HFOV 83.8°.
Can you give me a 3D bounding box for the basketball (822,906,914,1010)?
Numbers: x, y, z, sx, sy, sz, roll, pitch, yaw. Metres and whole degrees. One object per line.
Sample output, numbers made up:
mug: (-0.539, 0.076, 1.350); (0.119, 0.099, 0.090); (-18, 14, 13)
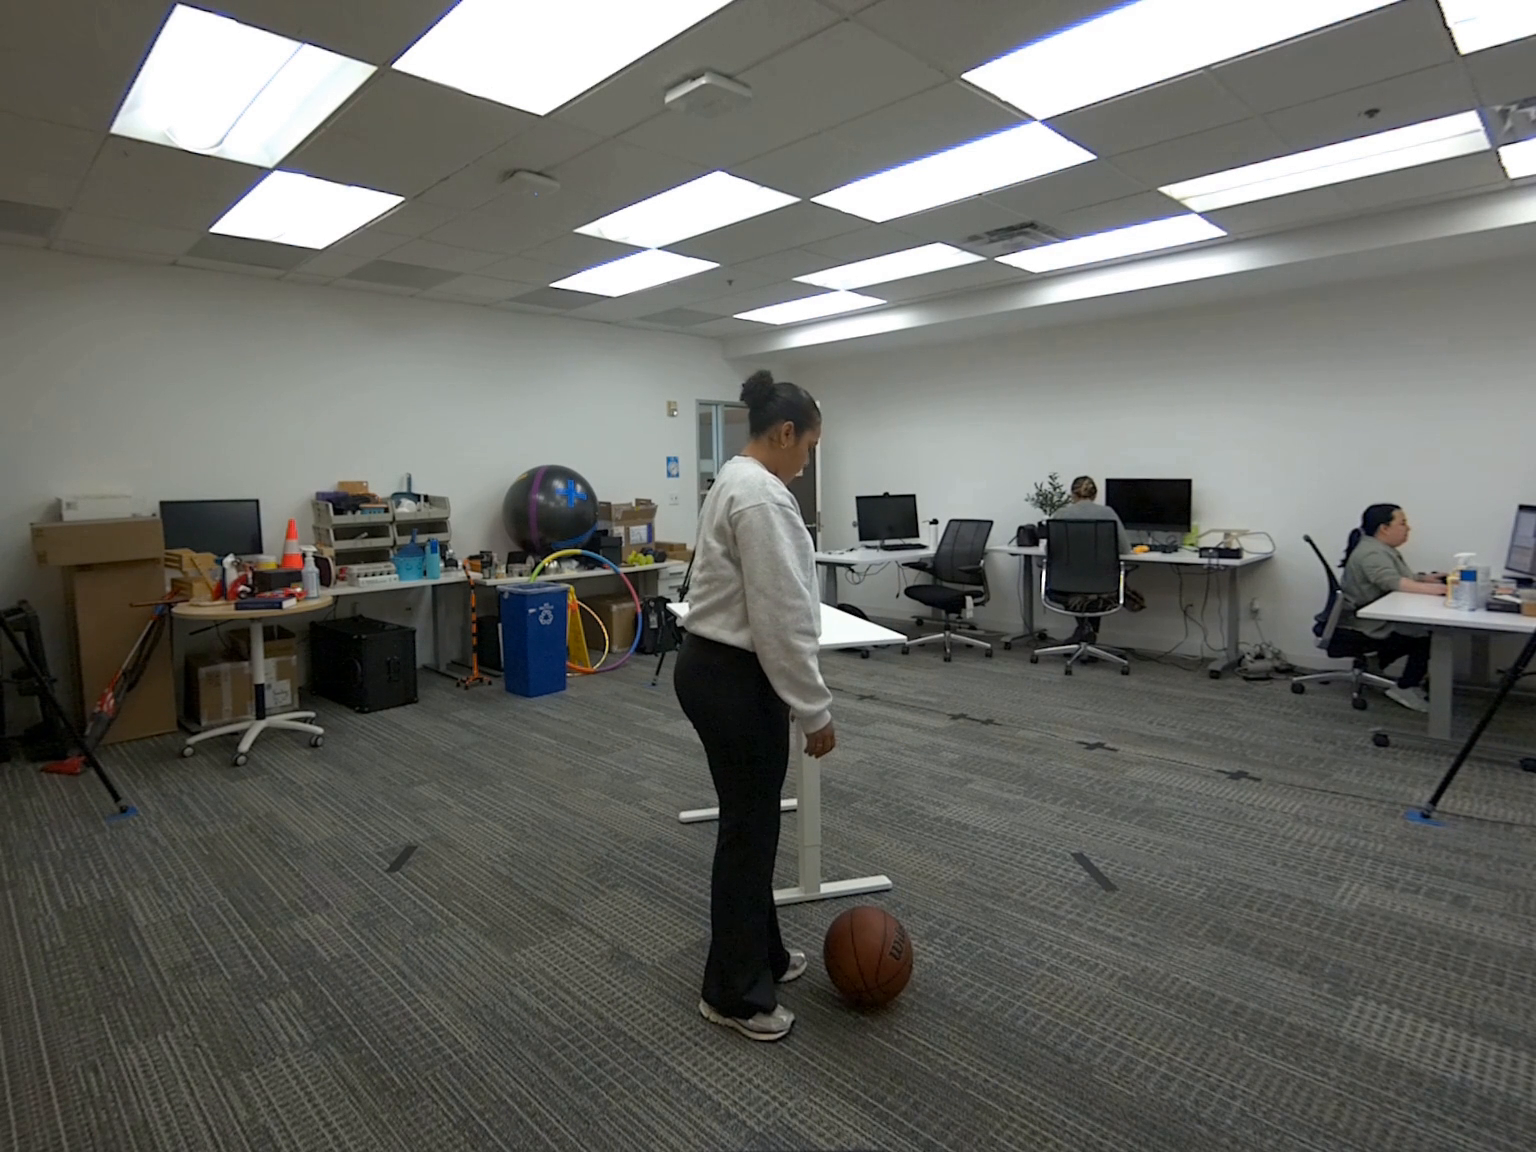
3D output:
basketball: (0.270, 1.007, 2.289); (0.236, 0.235, 0.237); (-1, 5, -2)
